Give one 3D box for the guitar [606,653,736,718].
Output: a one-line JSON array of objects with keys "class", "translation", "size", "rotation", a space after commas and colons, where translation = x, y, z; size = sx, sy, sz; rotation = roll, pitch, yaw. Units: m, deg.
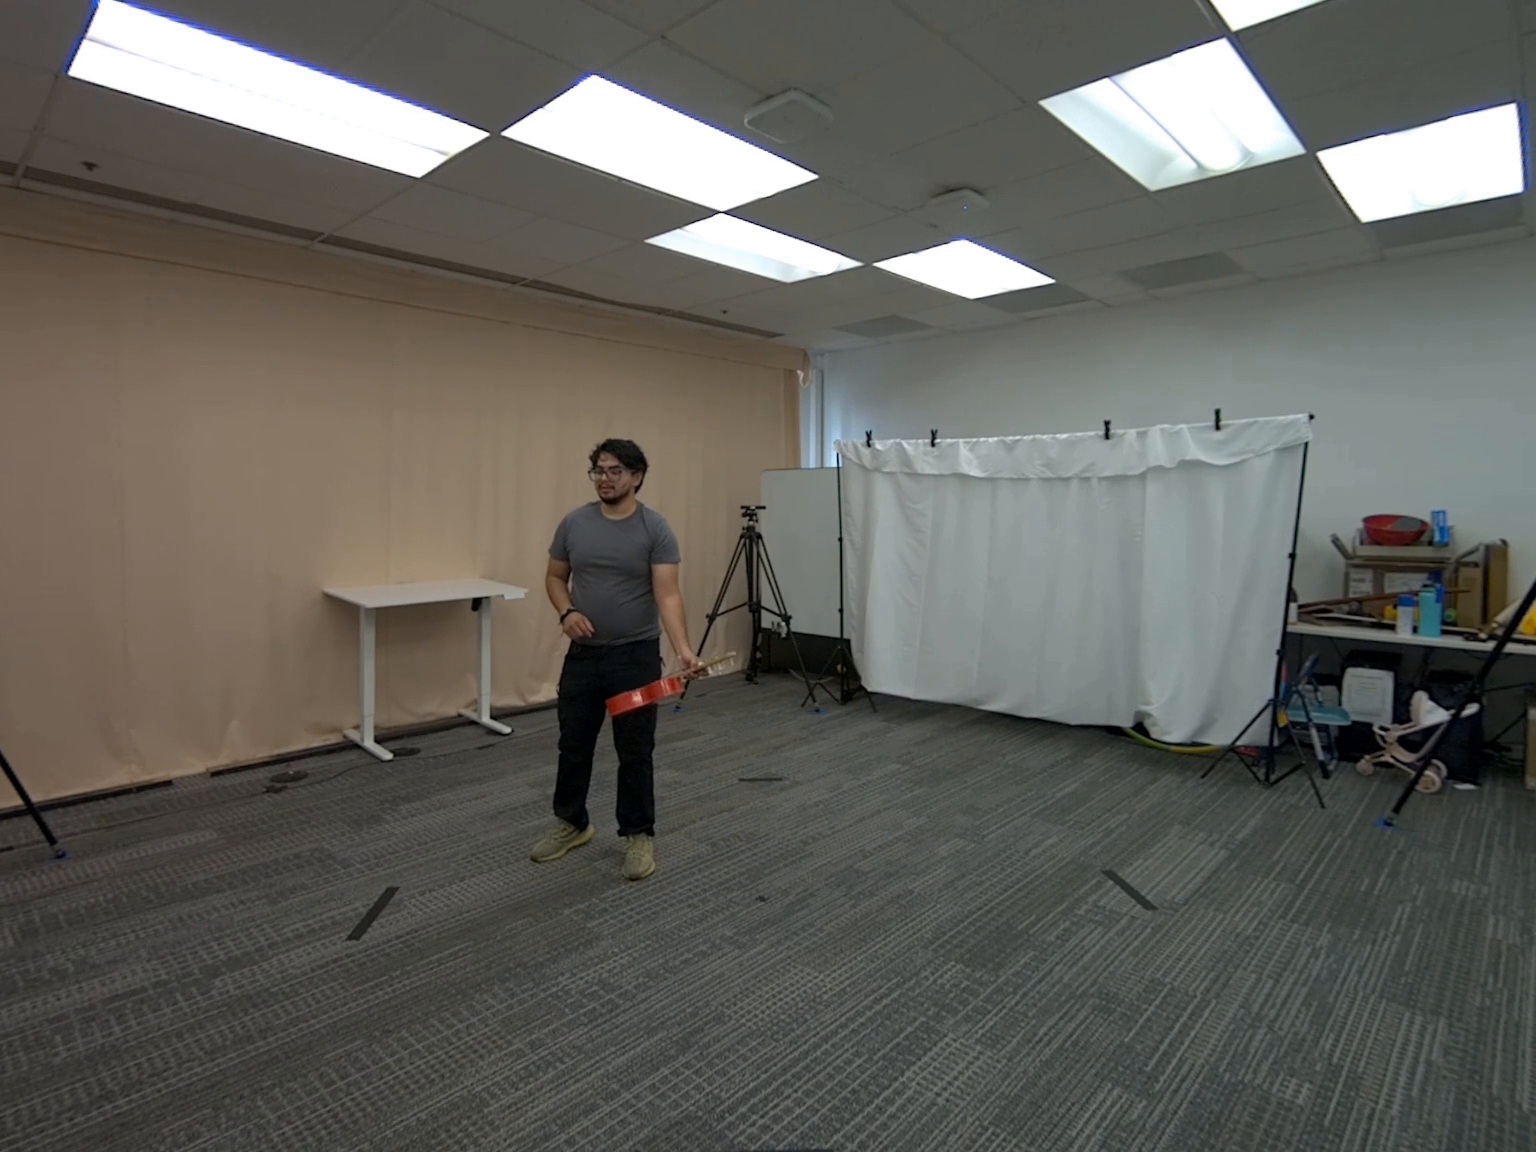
[{"class": "guitar", "translation": [-0.350, 0.383, 2.901], "size": [0.507, 0.071, 0.187], "rotation": [-23, -11, 27]}]
